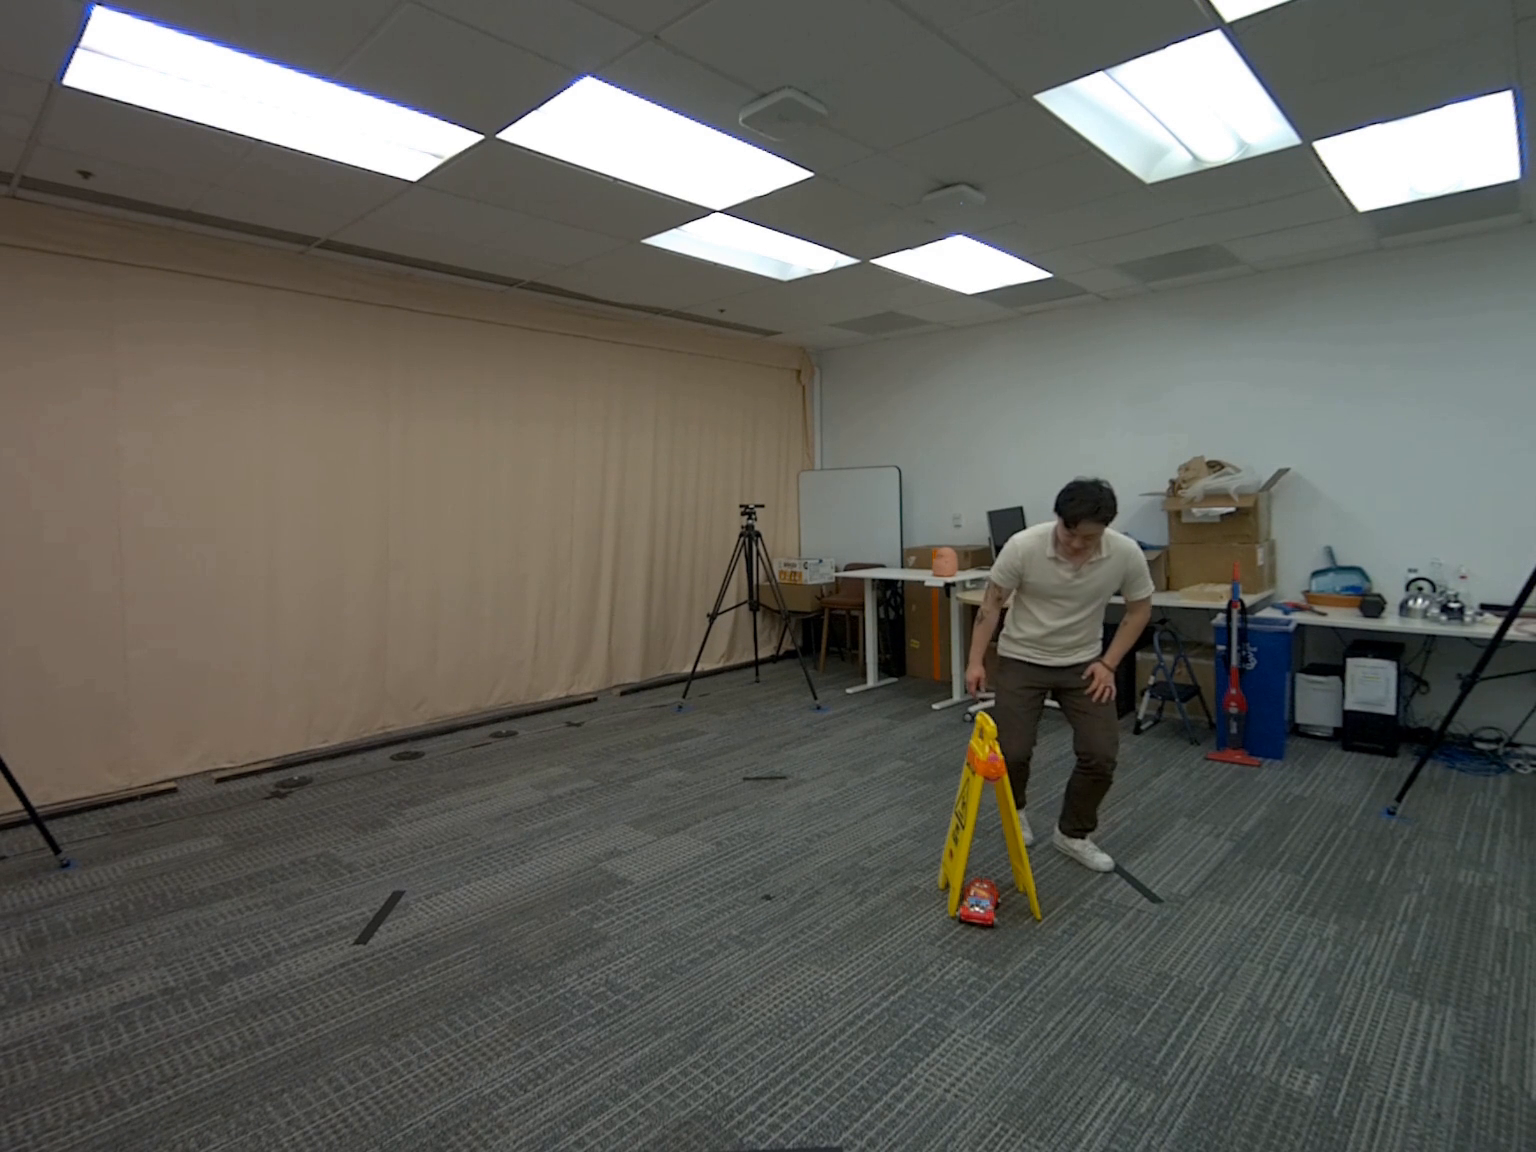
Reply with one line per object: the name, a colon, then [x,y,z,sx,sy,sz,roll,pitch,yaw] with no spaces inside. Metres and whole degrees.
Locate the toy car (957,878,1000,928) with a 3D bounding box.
toy car: [0.737,1.118,2.849,0.133,0.082,0.252,0,18,21]
